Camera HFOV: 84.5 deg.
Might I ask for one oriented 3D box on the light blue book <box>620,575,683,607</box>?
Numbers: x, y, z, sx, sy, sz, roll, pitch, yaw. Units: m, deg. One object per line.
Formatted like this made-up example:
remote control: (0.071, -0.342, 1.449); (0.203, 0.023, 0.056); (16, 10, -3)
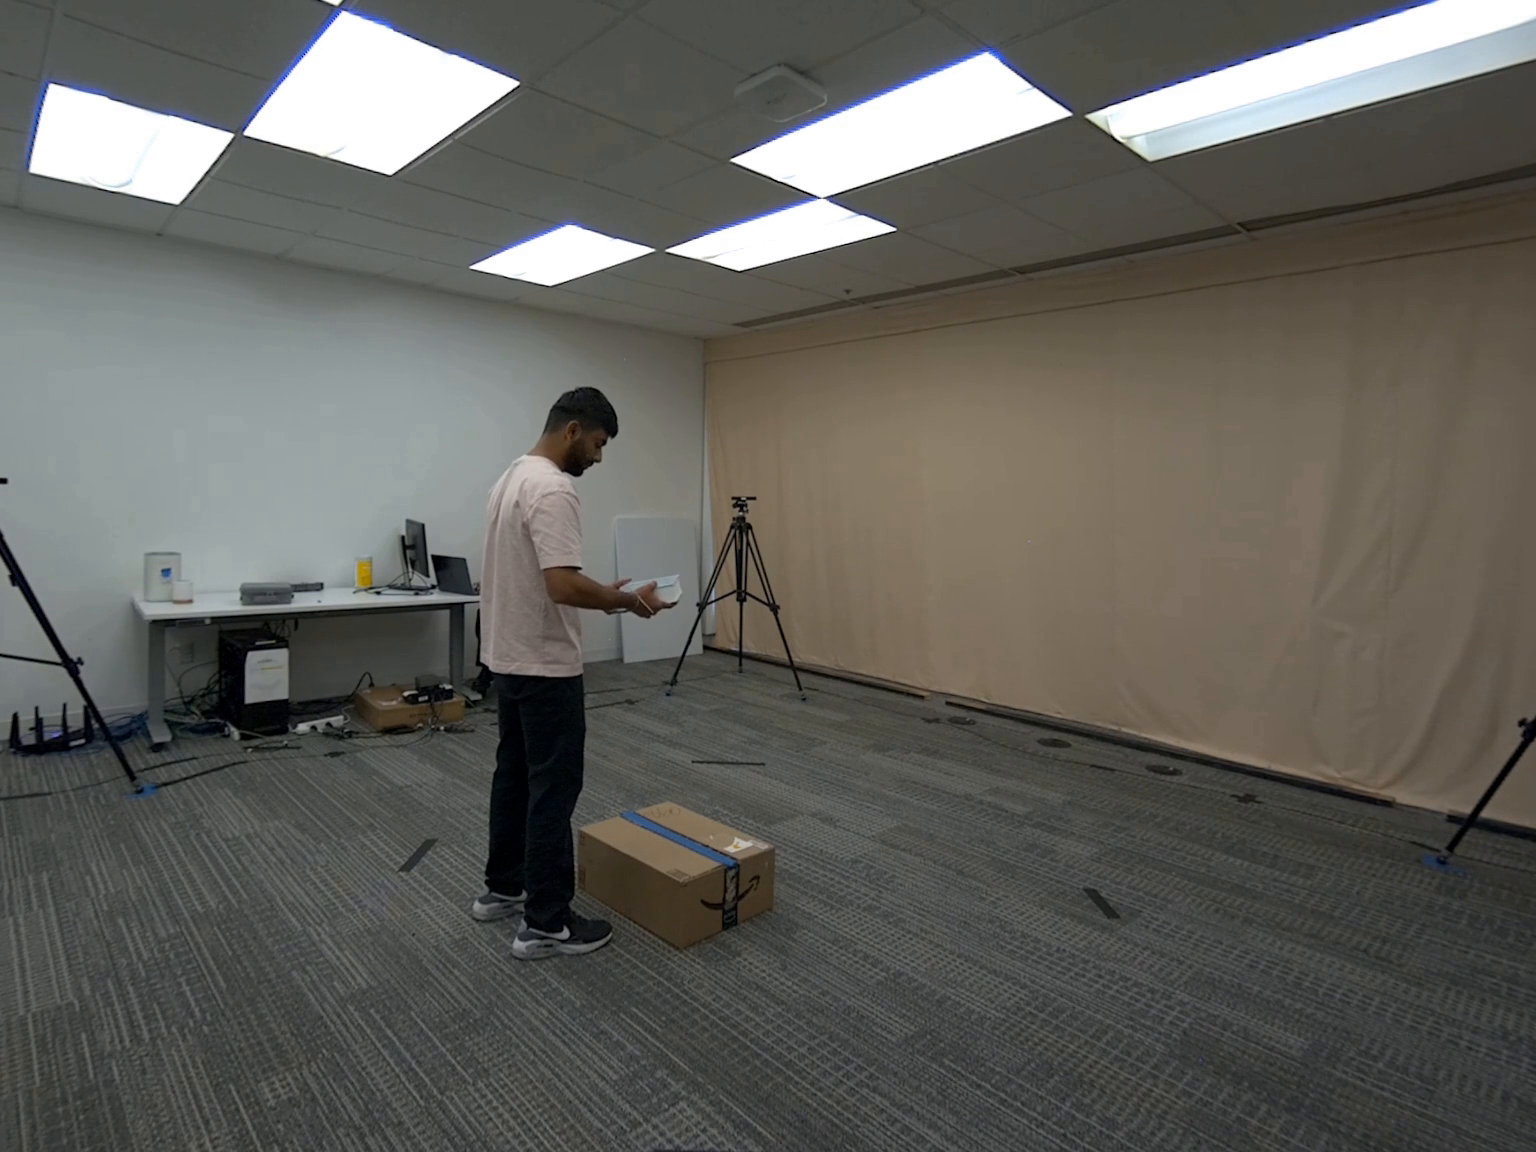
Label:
light blue book: (-0.420, 0.064, 2.675); (0.266, 0.059, 0.188); (-5, 6, 35)
